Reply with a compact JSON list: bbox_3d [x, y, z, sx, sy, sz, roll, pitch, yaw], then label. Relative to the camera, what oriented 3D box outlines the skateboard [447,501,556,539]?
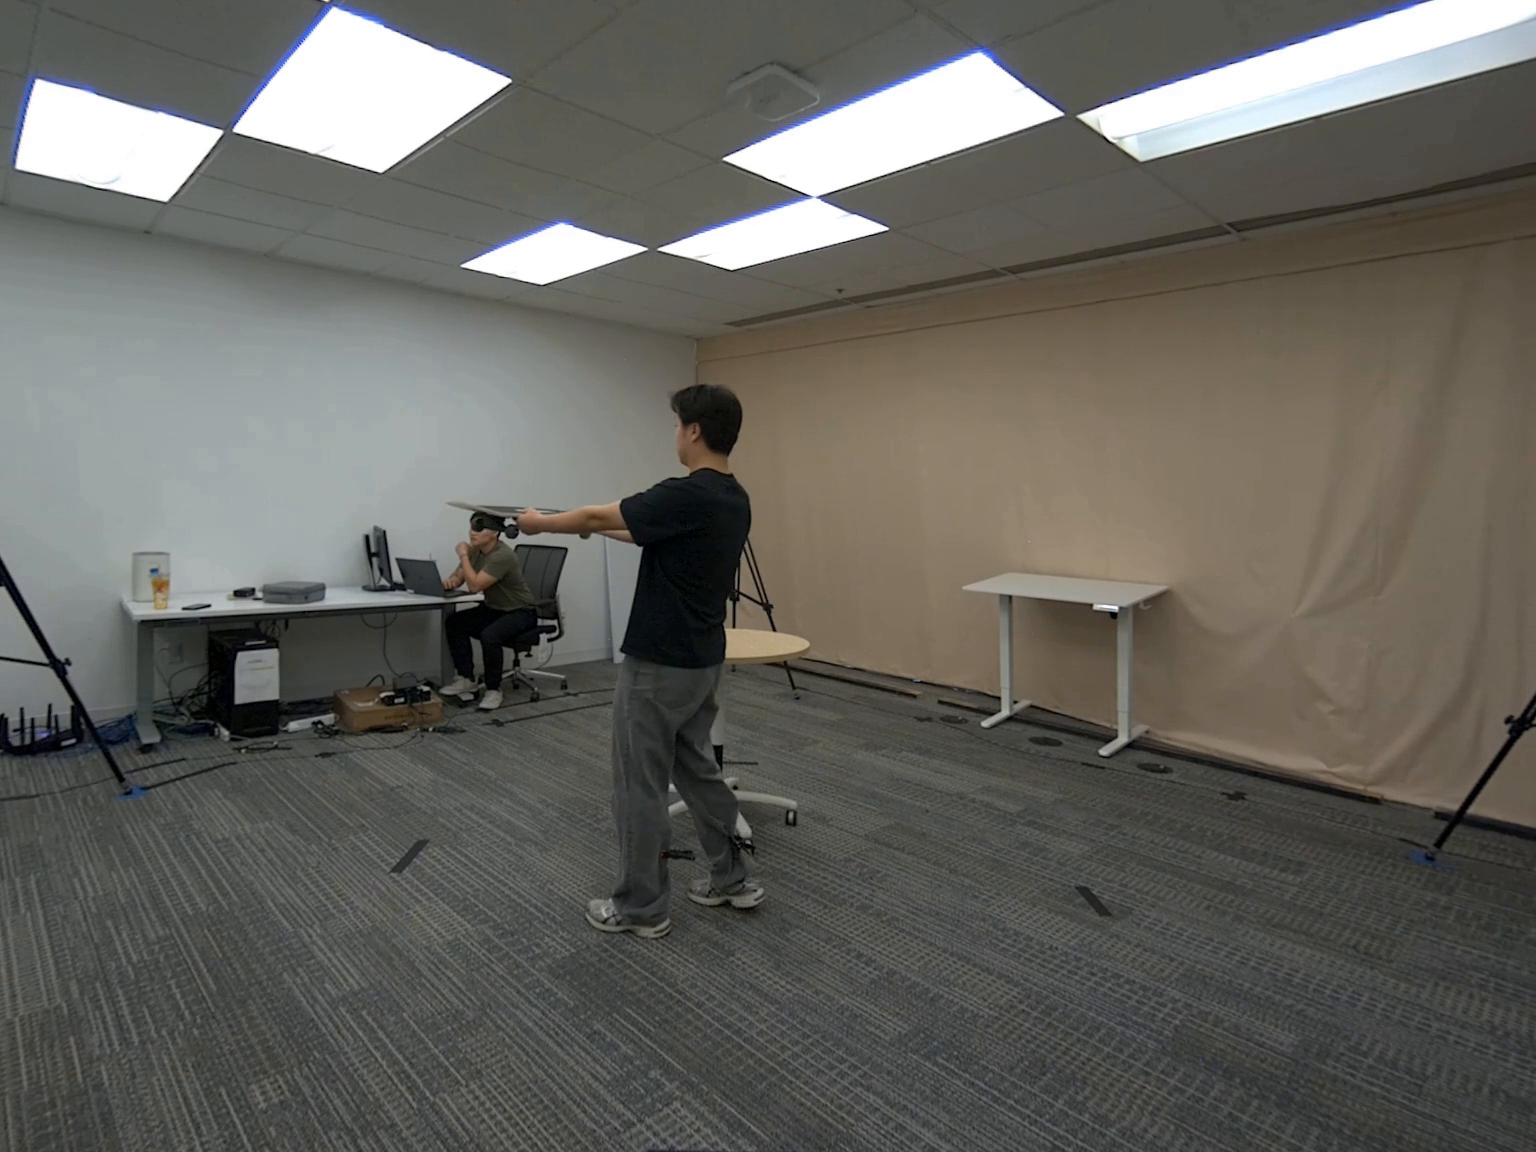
[{"bbox_3d":[-0.843,-0.204,2.998,0.197,0.110,0.770,3,3,27],"label":"skateboard"}]
